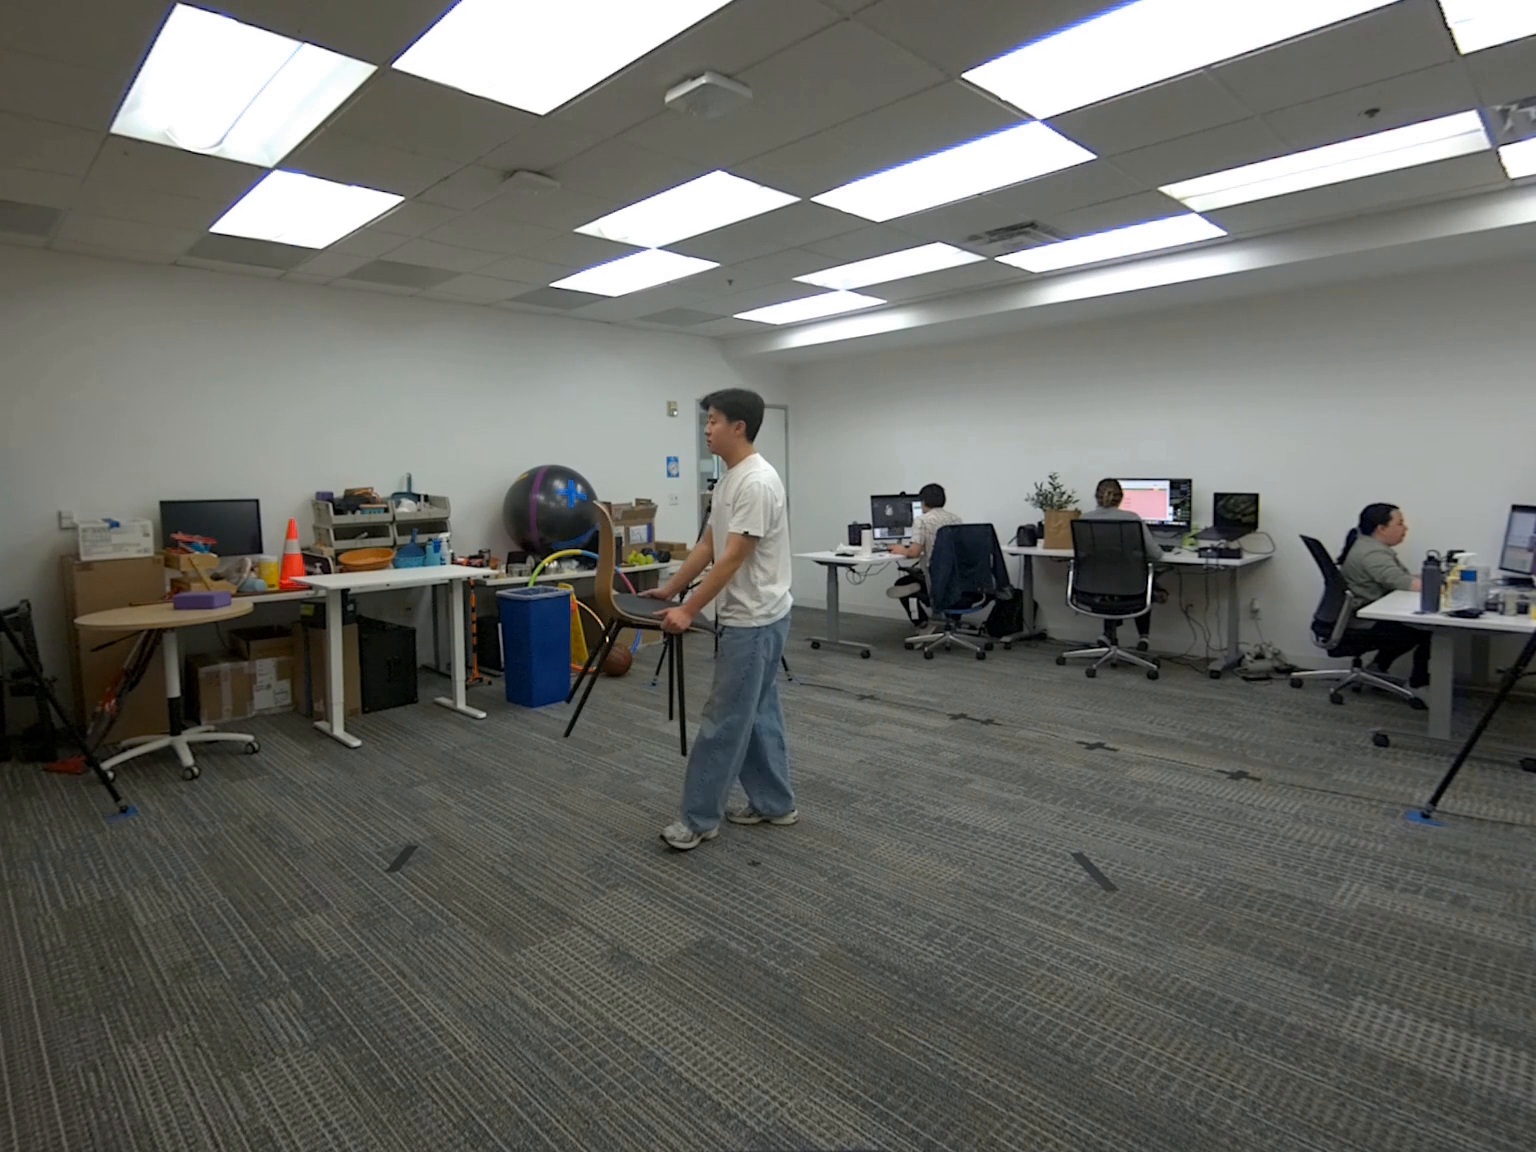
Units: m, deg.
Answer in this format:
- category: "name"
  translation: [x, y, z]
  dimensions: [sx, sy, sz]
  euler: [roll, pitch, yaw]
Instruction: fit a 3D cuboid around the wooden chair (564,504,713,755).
- category: "wooden chair"
  translation: [-0.469, 0.180, 3.291]
  dimensions: [0.517, 0.876, 0.485]
  euler: [8, 3, -12]
